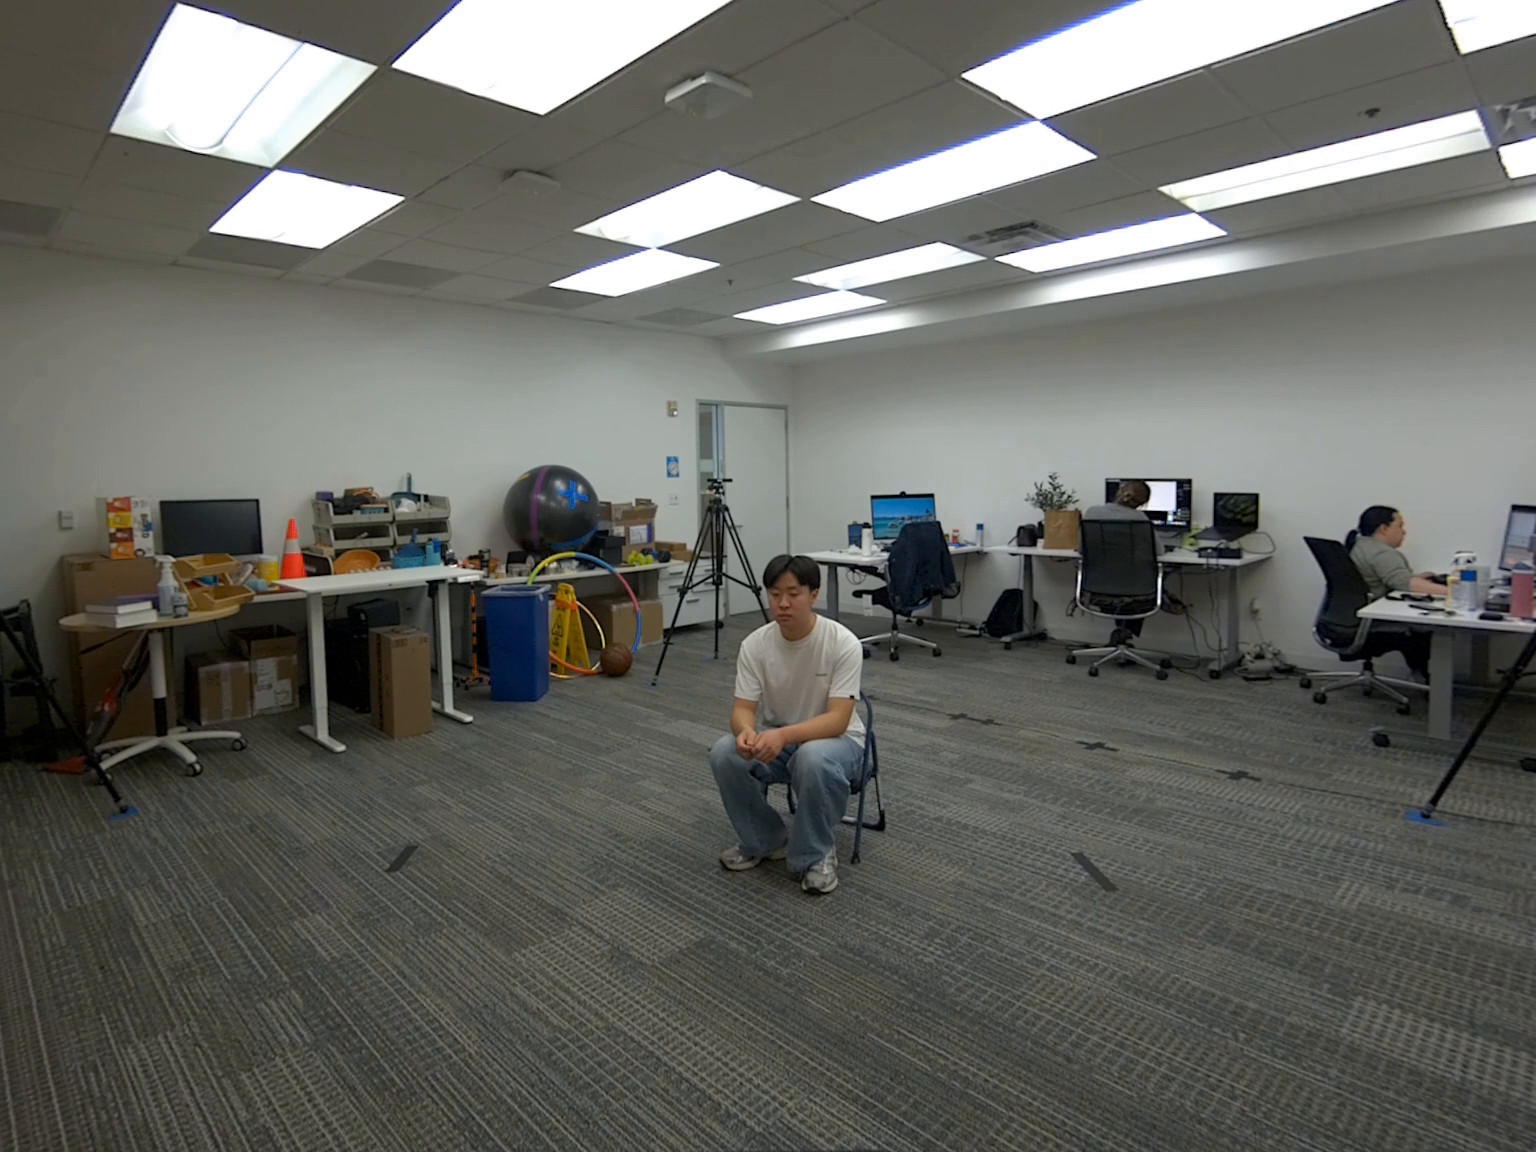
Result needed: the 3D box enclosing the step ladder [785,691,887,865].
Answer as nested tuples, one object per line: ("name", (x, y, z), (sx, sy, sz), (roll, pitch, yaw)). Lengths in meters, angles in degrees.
("step ladder", (0.214, 0.717, 3.327), (0.442, 0.604, 0.342), (2, 5, 28))
